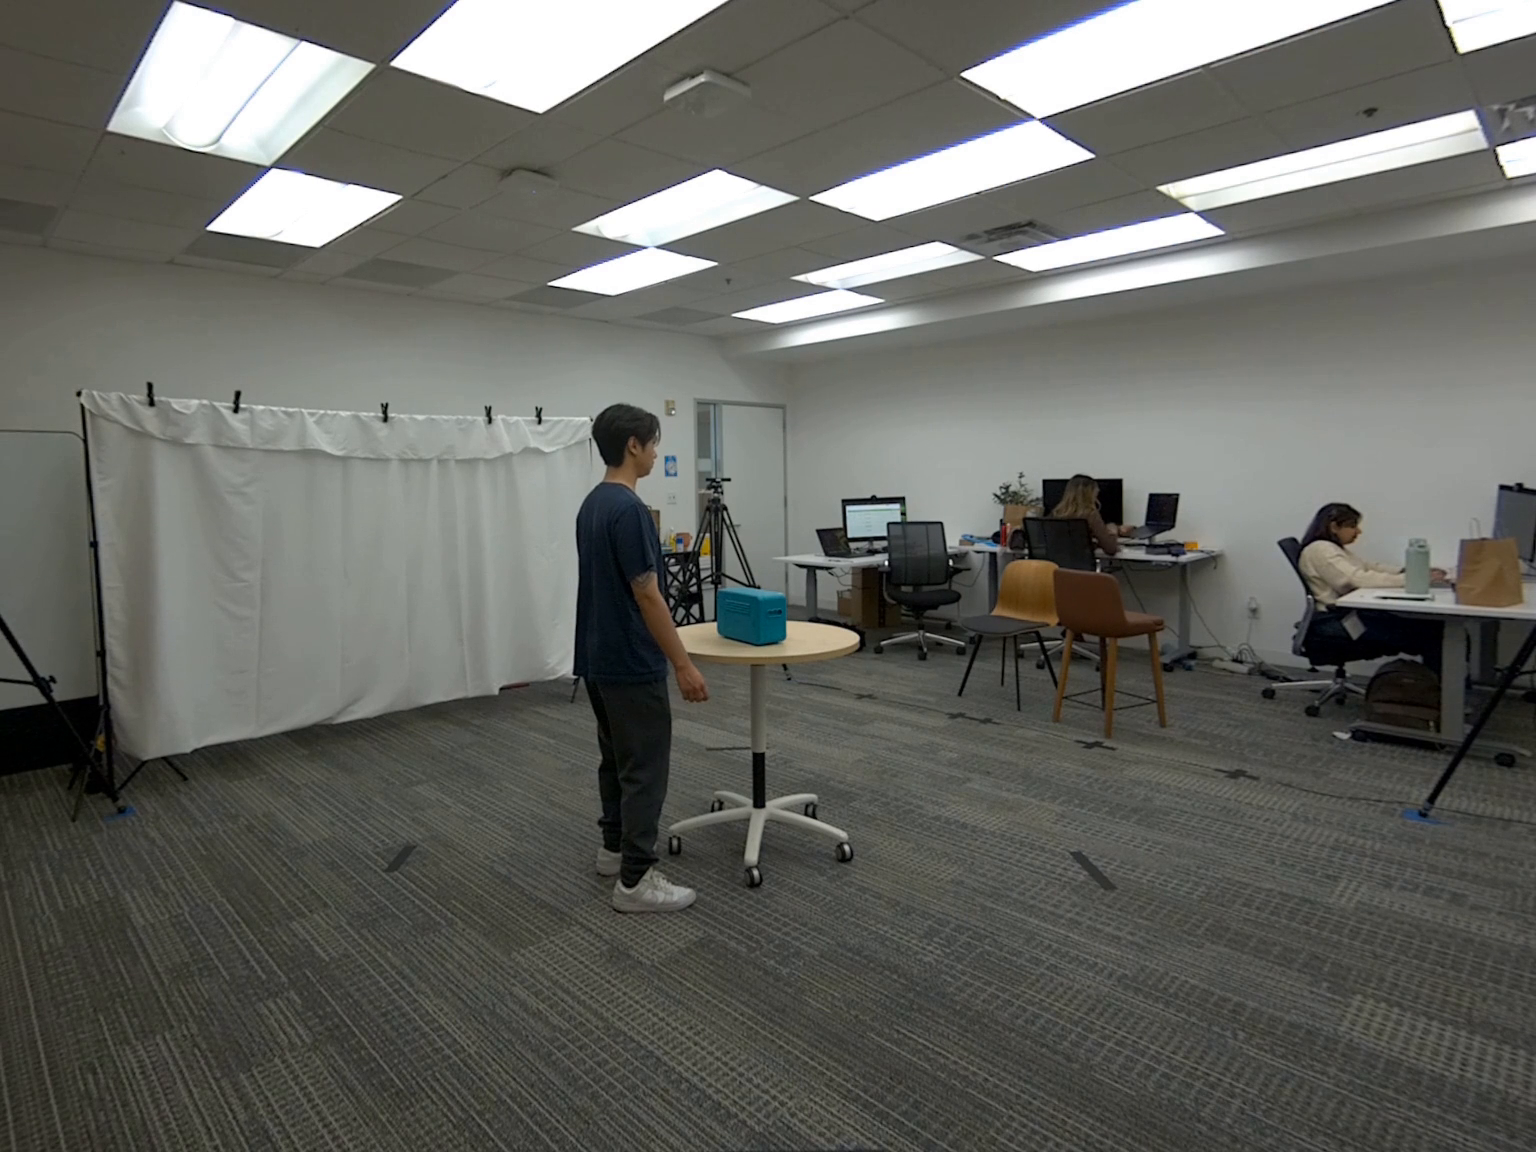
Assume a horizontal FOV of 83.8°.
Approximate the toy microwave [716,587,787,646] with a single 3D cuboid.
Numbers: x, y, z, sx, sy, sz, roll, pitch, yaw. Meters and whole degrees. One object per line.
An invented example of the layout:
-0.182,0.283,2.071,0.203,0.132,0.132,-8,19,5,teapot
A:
-0.051,0.145,3.161,0.148,0.183,0.294,-3,5,-35,toy microwave
